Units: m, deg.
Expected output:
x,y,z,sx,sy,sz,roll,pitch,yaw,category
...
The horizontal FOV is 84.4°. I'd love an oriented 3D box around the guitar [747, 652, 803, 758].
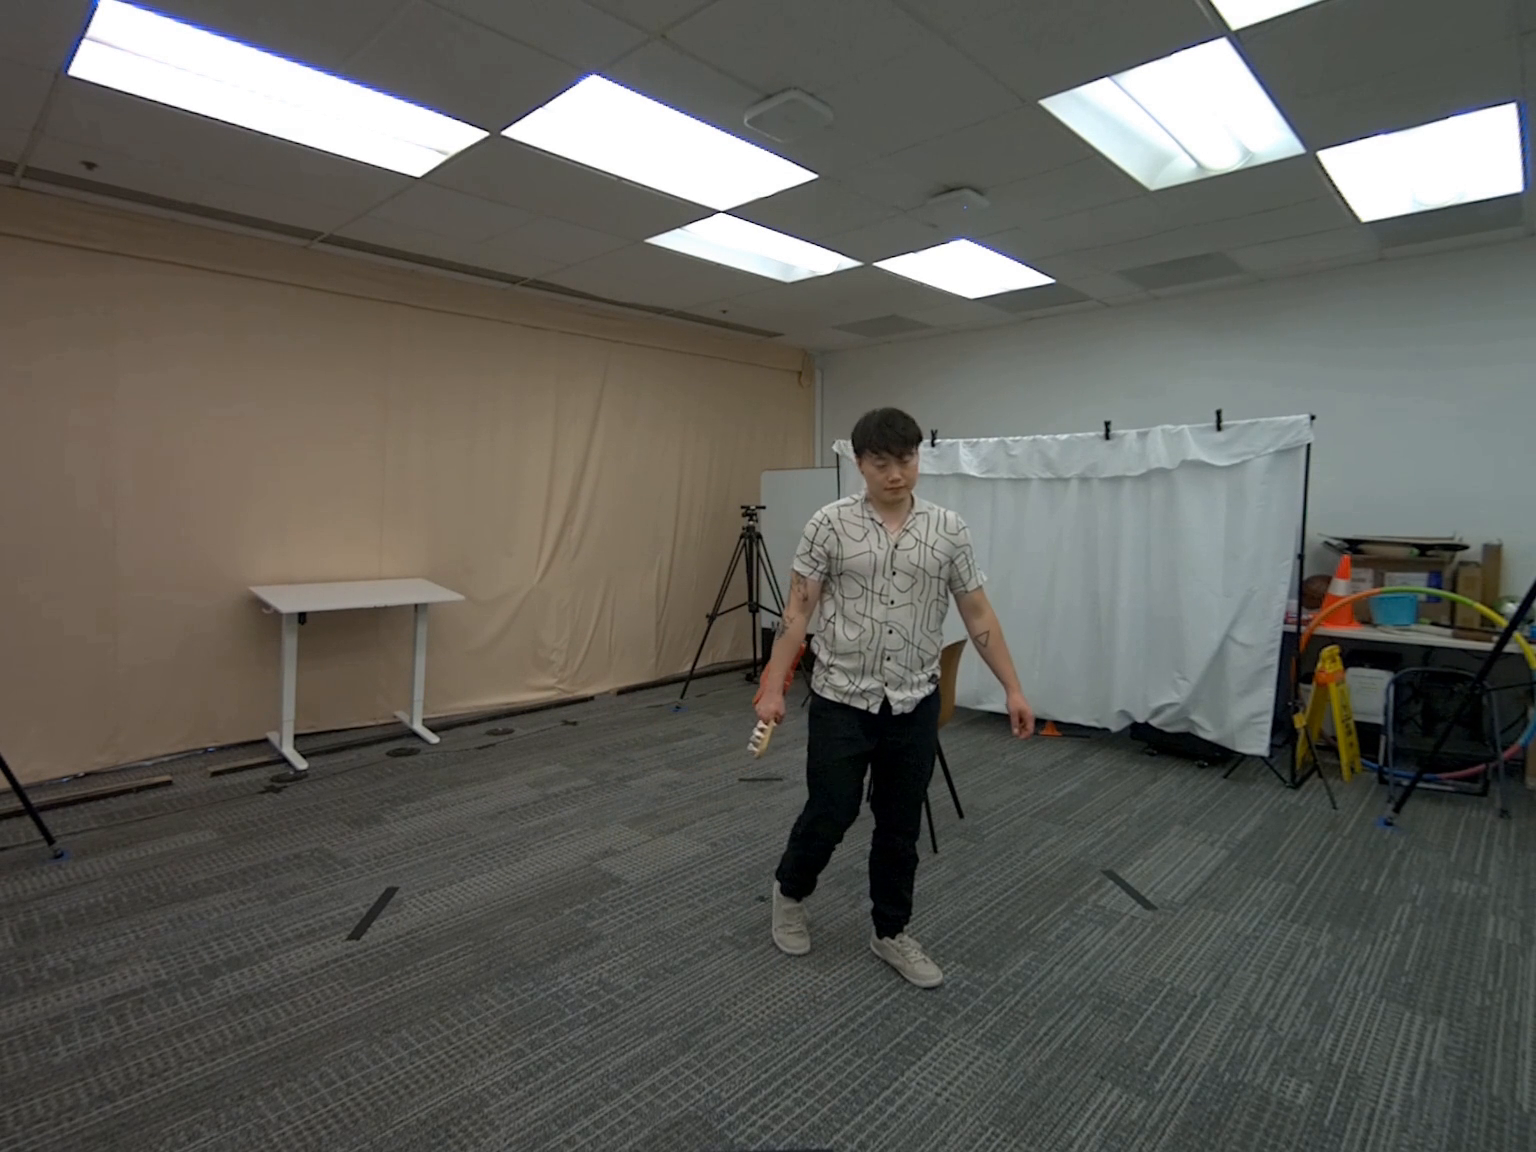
x,y,z,sx,sy,sz,roll,pitch,yaw,category
0.028,0.346,2.511,0.071,0.193,0.498,29,21,-2,guitar
